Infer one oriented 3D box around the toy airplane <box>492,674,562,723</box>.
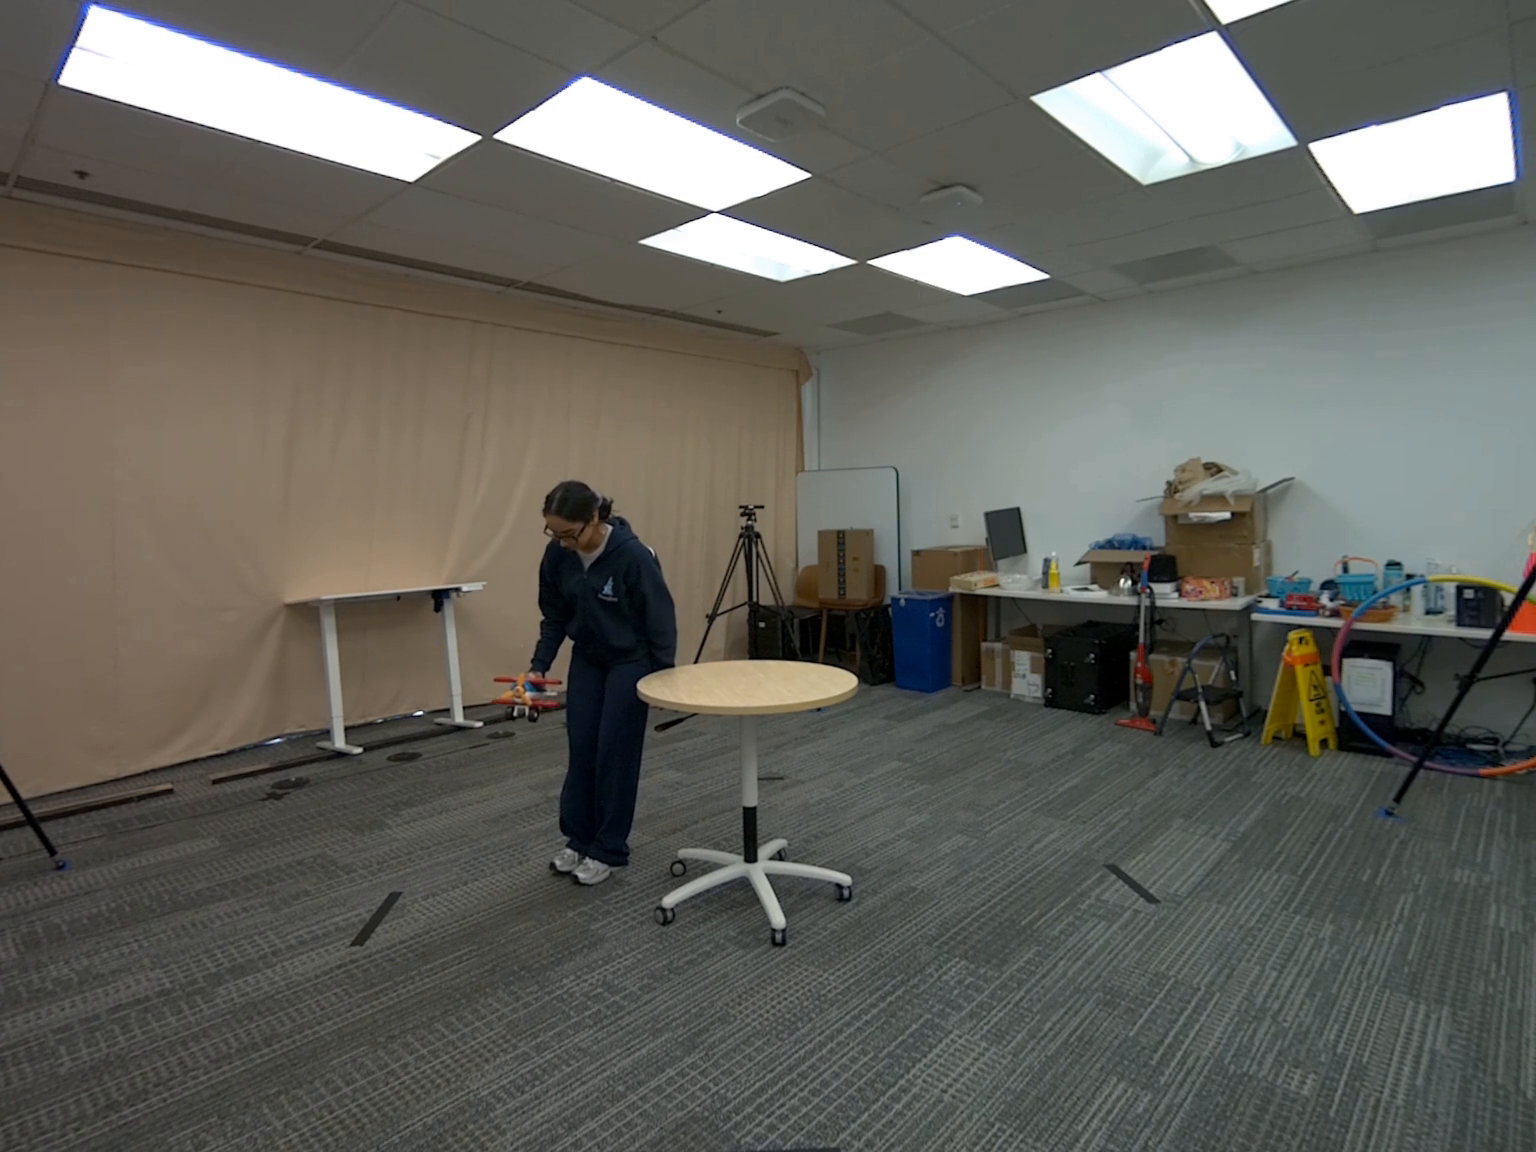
[{"bbox_3d":[-0.893,0.438,3.111,0.246,0.156,0.265,-1,7,-20],"label":"toy airplane"}]
